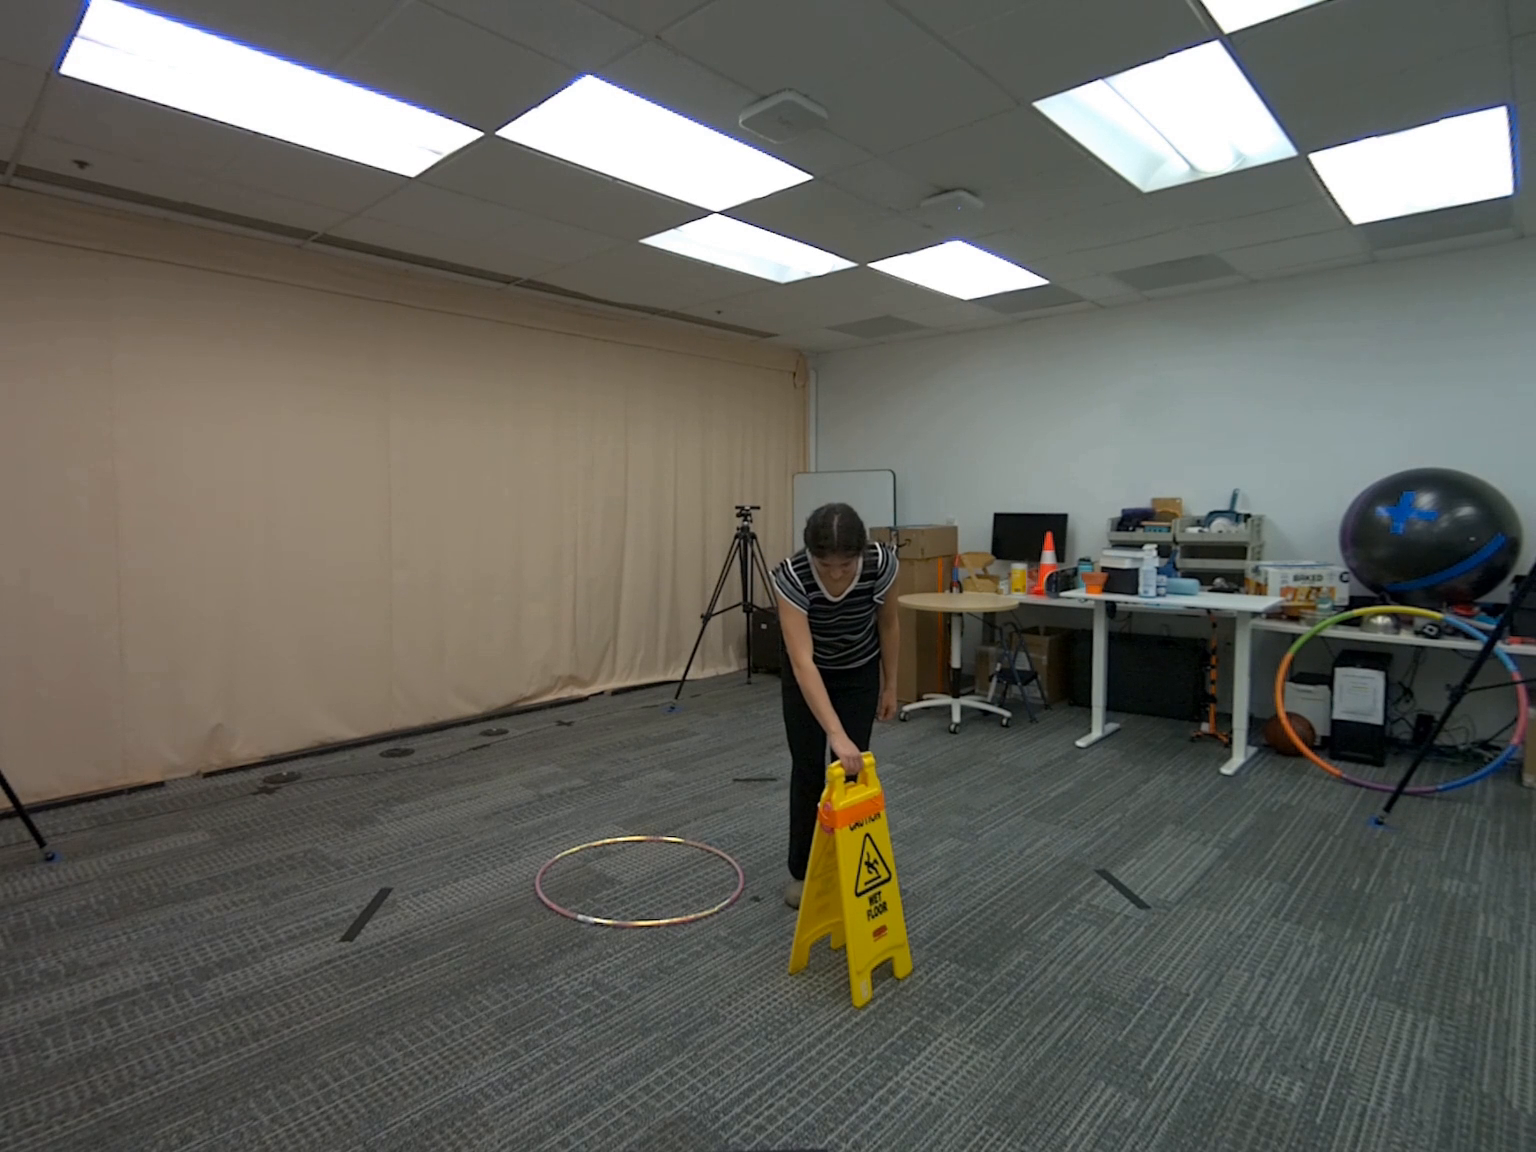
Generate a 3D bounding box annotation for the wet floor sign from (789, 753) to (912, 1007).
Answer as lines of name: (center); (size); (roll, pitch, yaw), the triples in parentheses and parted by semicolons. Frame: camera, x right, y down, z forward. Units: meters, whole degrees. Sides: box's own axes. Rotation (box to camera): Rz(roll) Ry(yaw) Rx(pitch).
wet floor sign: (0.241, 0.856, 2.500); (0.299, 0.645, 0.273); (2, 3, 44)
